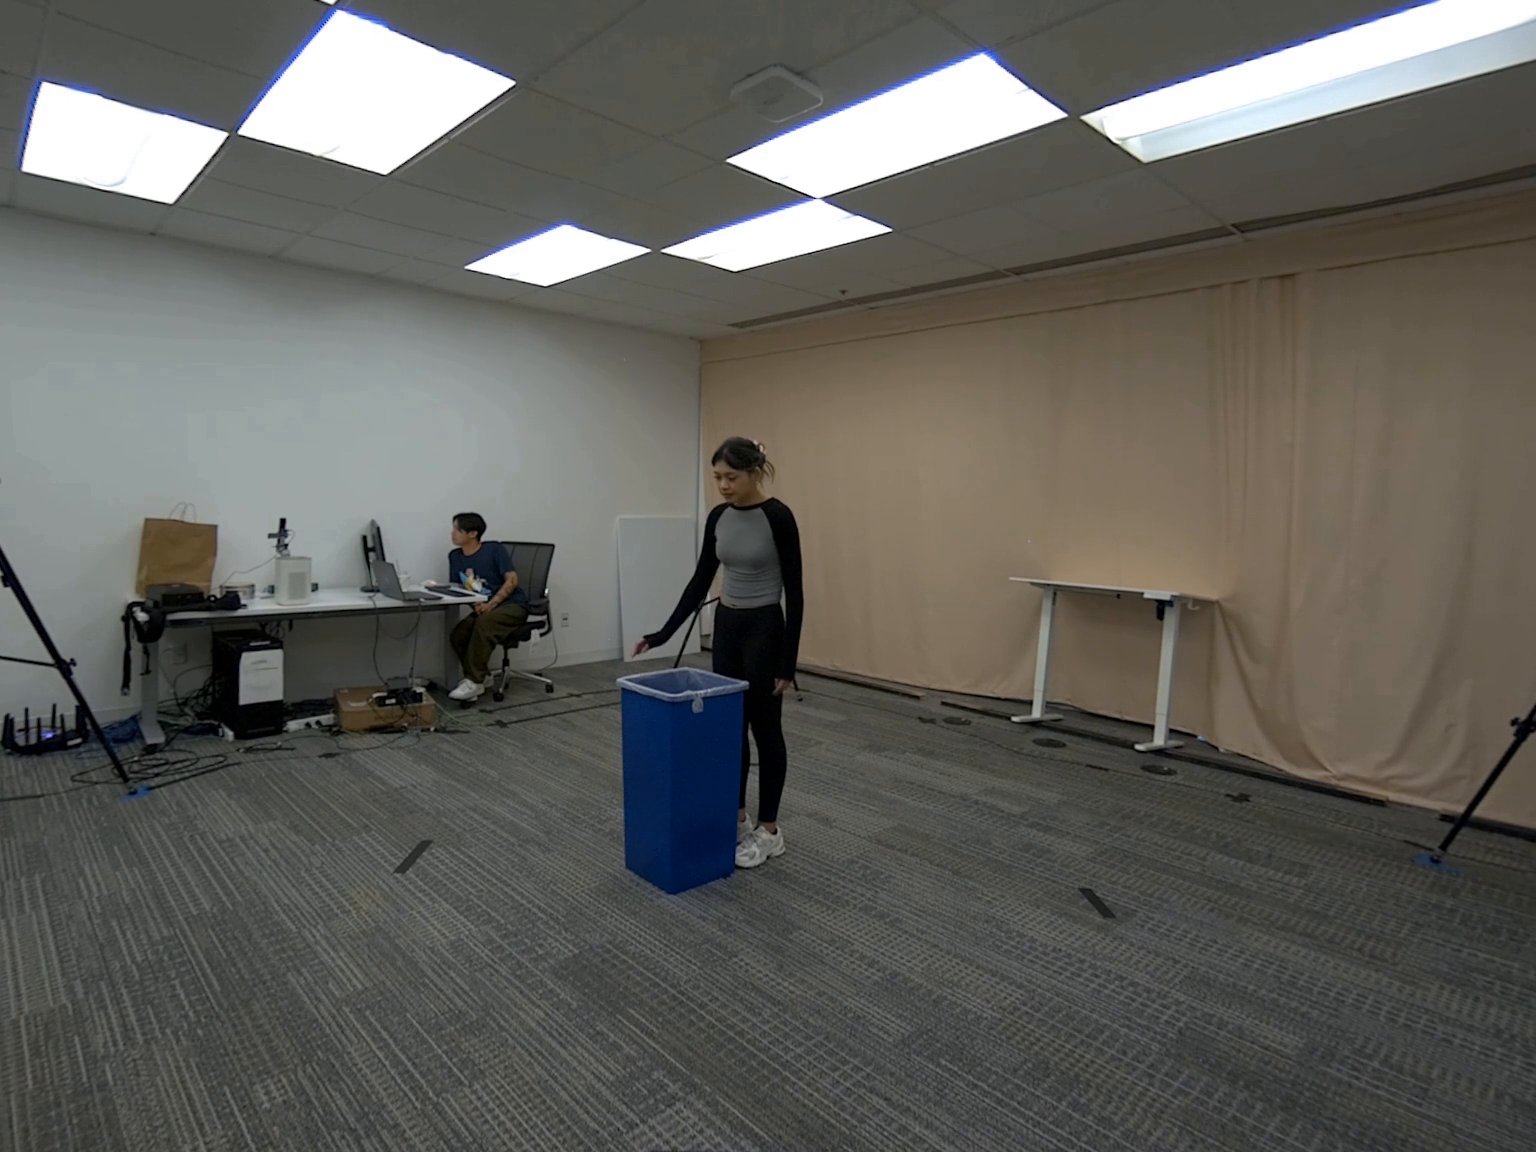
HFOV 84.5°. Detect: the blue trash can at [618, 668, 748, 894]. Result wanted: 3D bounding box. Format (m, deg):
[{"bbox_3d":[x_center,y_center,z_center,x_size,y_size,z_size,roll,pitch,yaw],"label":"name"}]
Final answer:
[{"bbox_3d":[-0.337,0.743,3.132,0.369,0.712,0.384,-1,5,-43],"label":"blue trash can"}]
